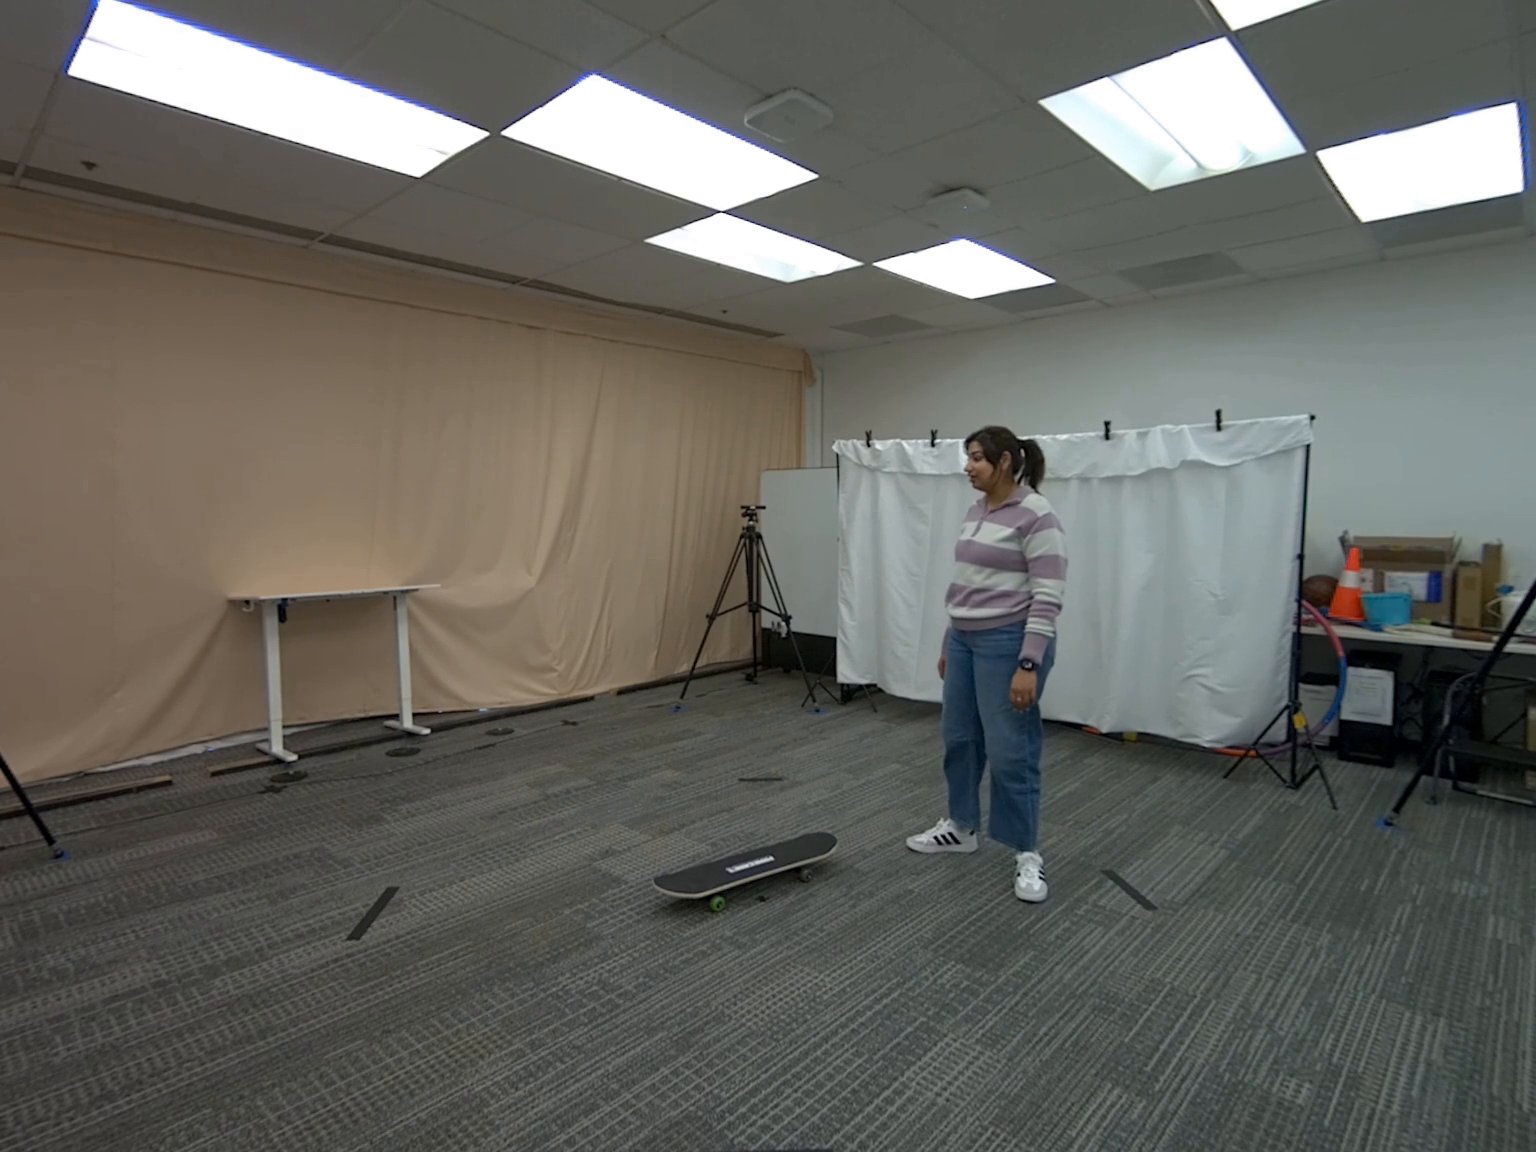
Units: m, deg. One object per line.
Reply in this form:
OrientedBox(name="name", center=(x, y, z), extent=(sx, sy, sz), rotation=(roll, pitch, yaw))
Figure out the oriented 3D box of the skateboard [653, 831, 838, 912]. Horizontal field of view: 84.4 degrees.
OrientedBox(name="skateboard", center=(-0.060, 1.084, 3.072), extent=(0.762, 0.110, 0.199), rotation=(-3, 4, -35))
